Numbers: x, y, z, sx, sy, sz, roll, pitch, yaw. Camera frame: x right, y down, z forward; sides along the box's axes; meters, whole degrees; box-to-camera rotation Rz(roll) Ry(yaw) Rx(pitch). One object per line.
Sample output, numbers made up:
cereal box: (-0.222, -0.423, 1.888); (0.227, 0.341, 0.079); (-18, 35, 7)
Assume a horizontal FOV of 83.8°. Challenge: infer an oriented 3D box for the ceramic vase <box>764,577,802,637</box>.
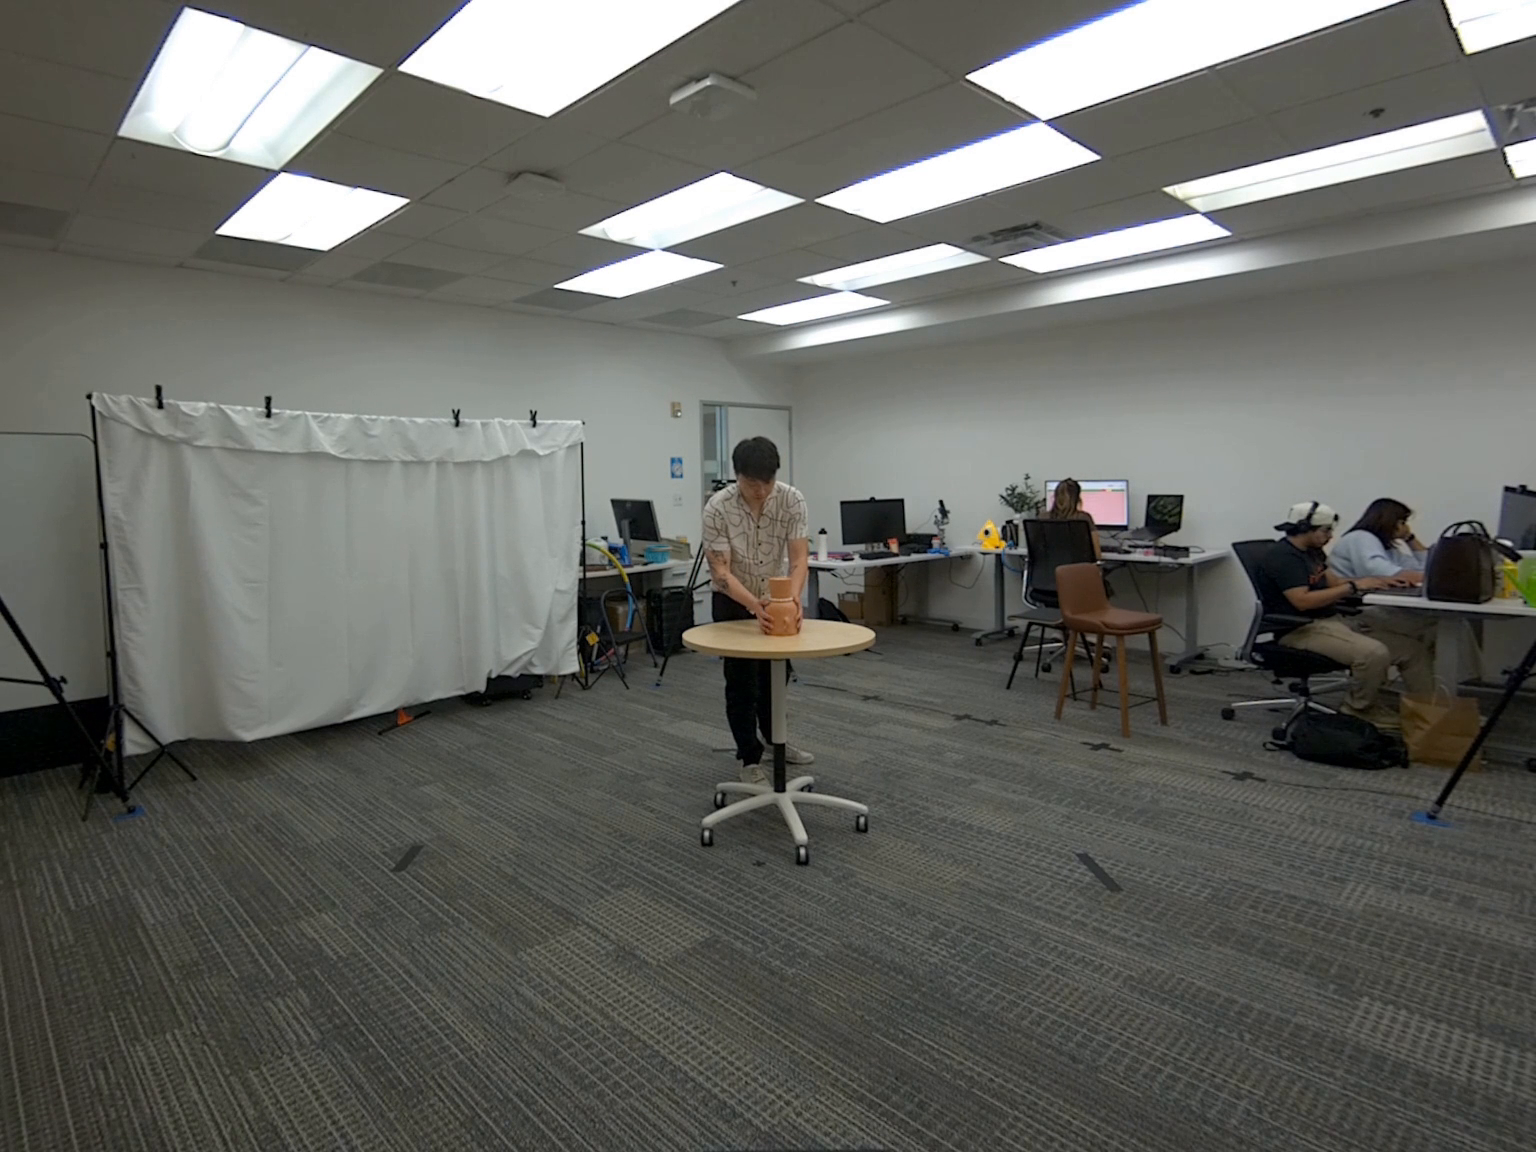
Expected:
ceramic vase: (0.050, 0.122, 3.424); (0.163, 0.219, 0.131); (0, 2, 39)
